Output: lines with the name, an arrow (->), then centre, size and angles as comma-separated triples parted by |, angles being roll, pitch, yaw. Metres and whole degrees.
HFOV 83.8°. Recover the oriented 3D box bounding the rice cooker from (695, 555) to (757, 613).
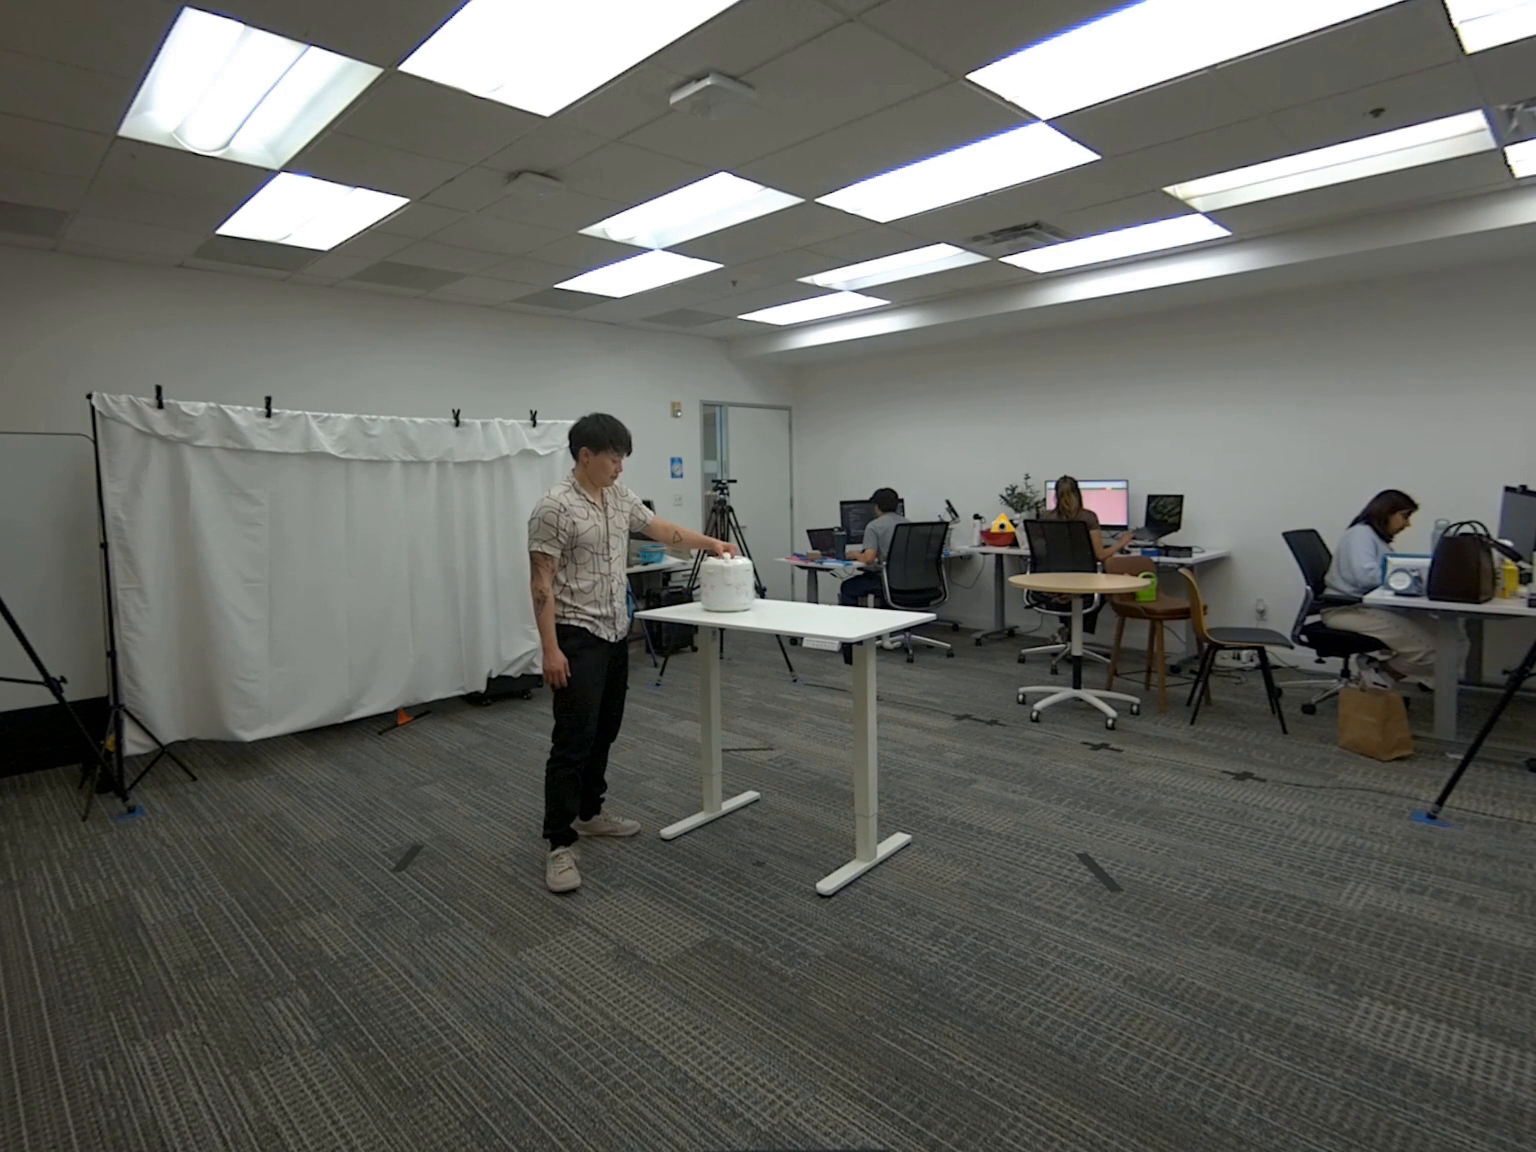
rice cooker -> -0.162, 0.019, 3.406 | 0.217, 0.232, 0.222 | -3, 5, -4
